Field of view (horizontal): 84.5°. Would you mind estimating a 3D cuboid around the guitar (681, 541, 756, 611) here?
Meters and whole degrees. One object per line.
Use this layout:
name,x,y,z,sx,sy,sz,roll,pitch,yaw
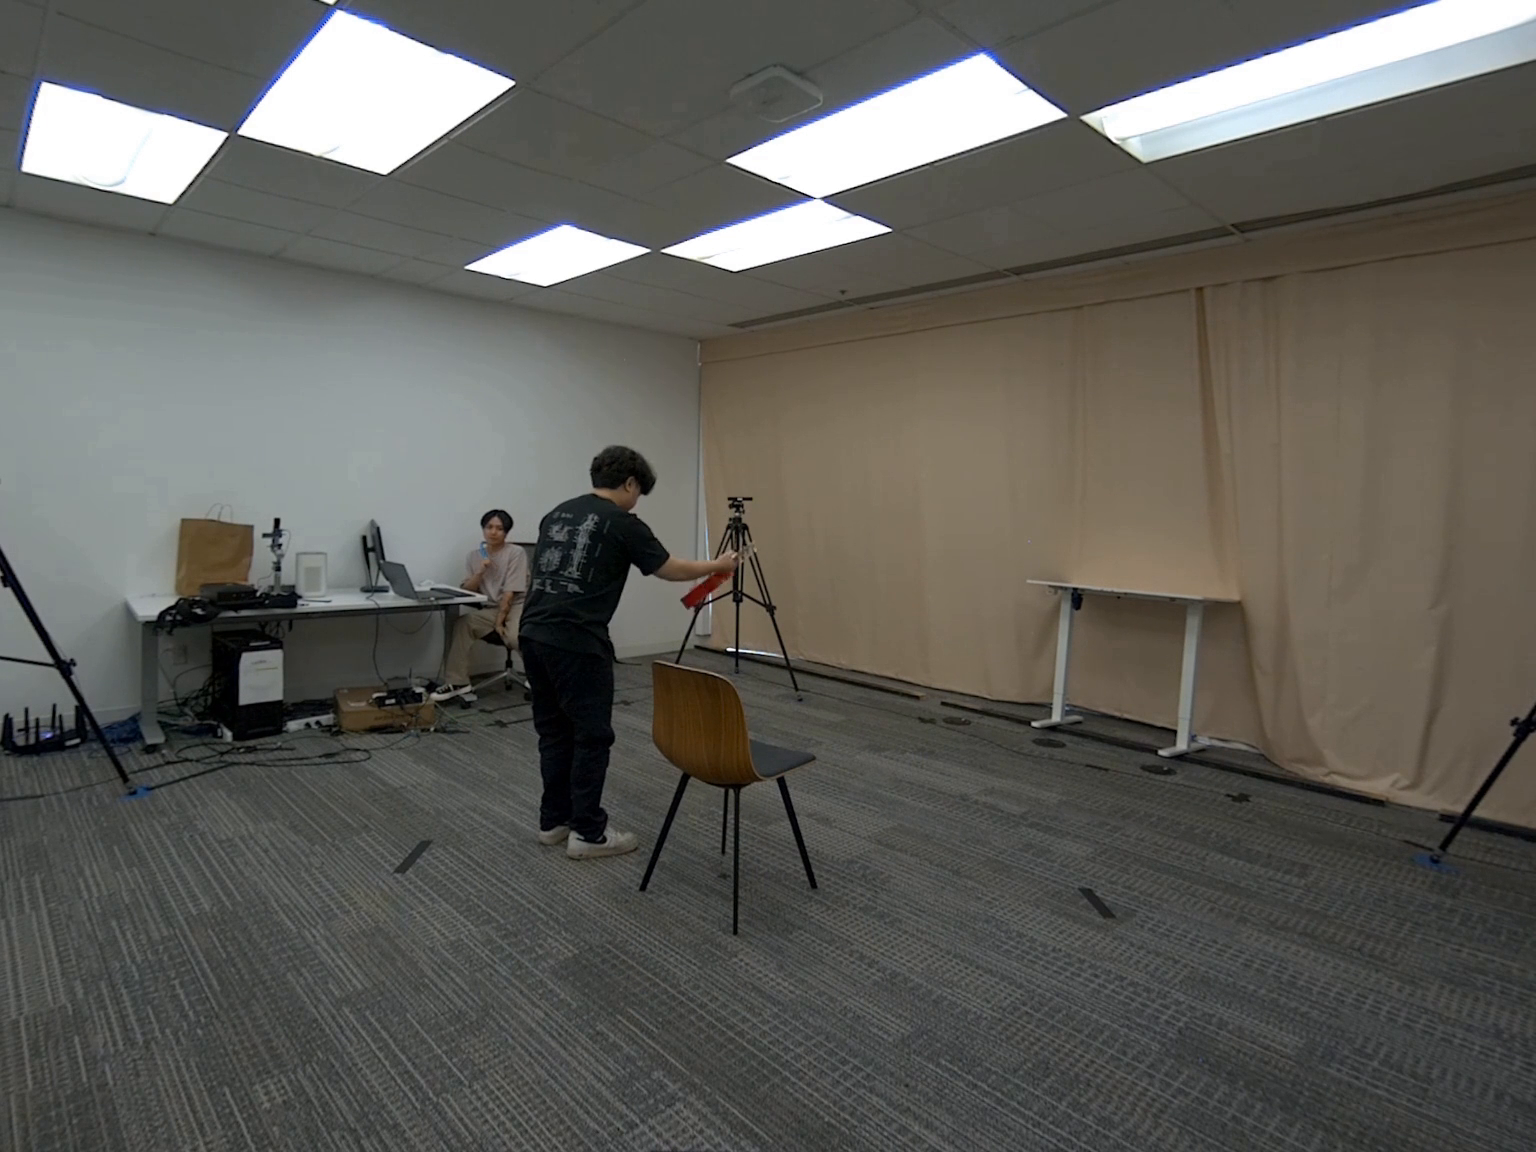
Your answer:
guitar,-0.224,0.008,3.631,0.192,0.070,0.500,-41,4,-42
